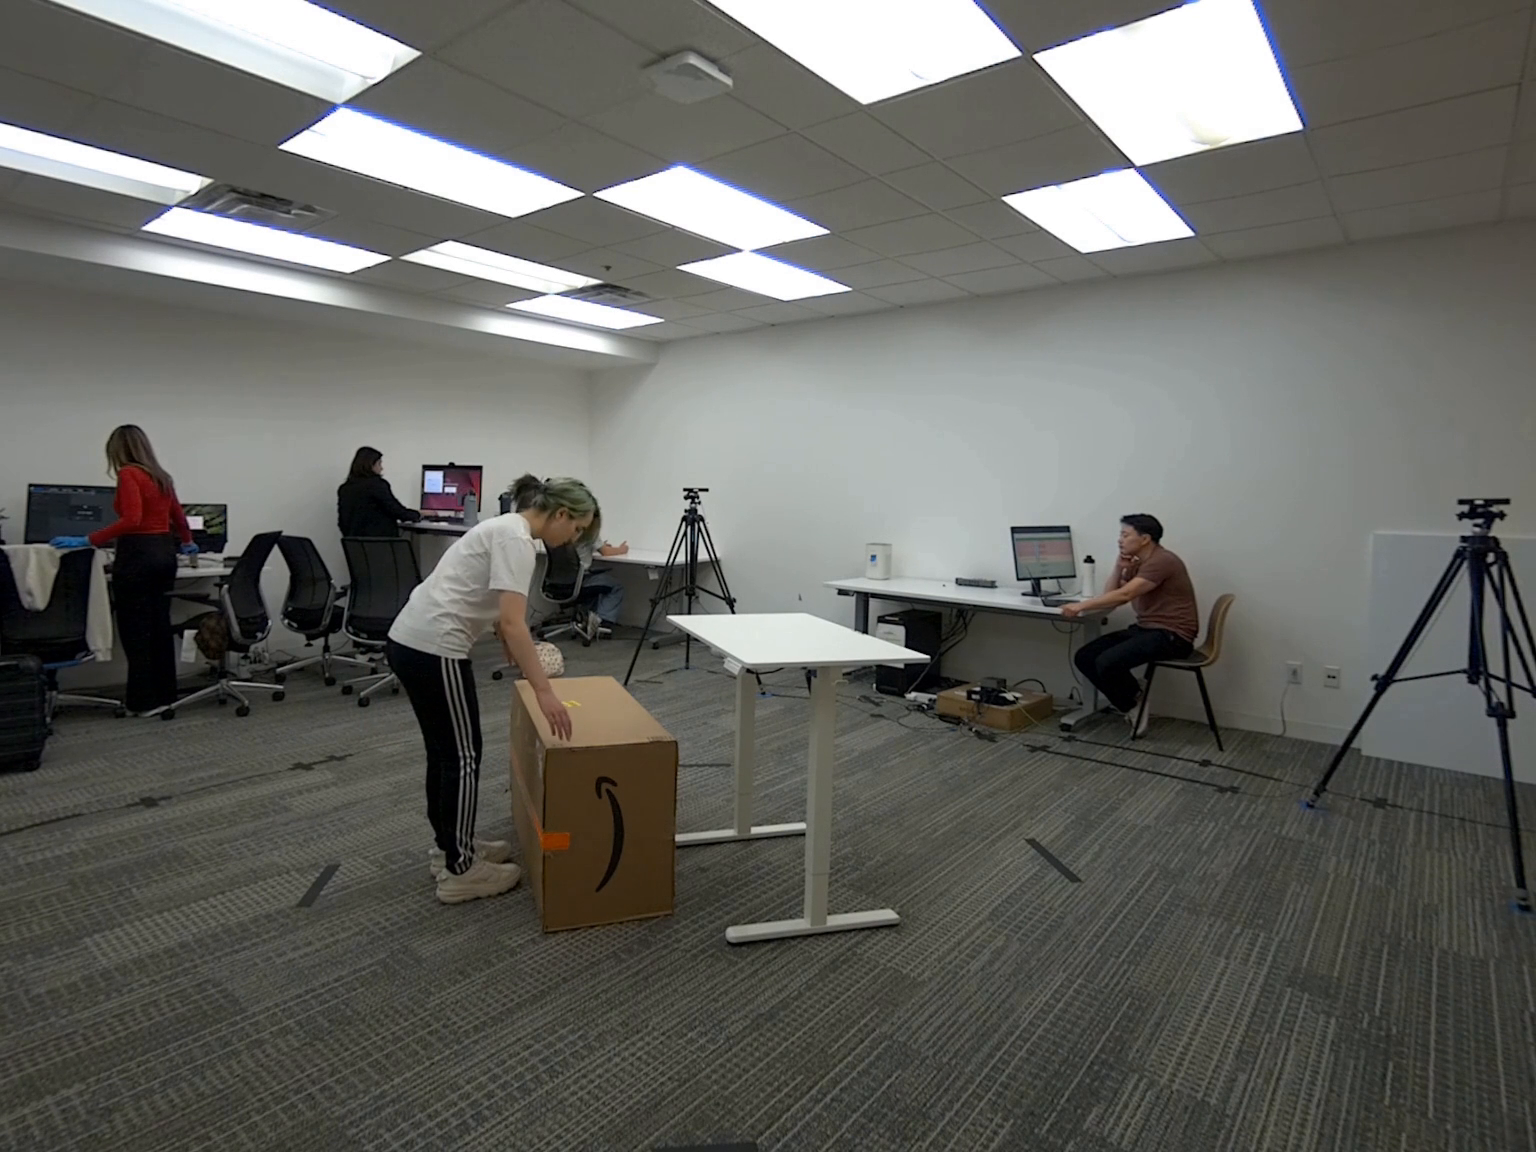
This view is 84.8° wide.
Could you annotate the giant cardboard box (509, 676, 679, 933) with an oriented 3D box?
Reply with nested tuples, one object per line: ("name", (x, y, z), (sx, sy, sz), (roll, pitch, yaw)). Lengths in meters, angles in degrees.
("giant cardboard box", (-0.700, 0.764, 3.167), (0.437, 0.582, 1.052), (0, 4, -22))
